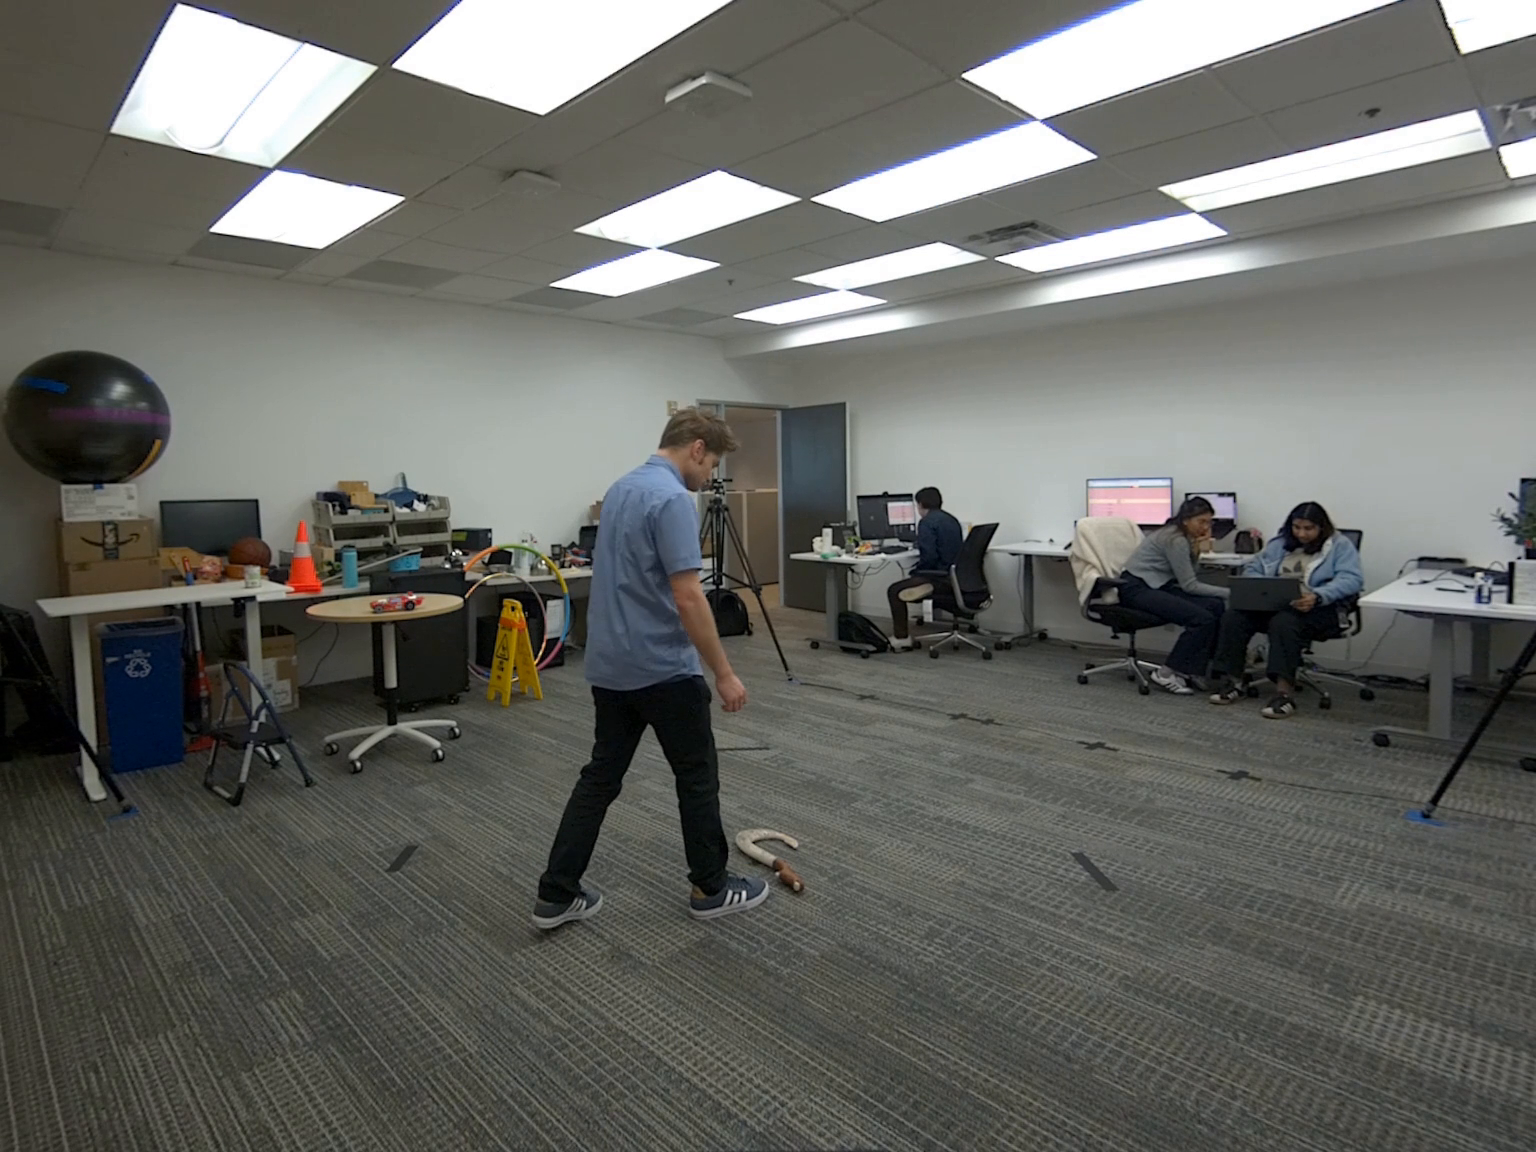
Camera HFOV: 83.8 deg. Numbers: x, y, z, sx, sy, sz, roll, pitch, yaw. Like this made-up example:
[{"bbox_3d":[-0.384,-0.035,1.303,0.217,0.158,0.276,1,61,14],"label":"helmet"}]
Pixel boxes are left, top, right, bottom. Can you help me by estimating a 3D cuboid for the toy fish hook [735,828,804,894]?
[{"bbox_3d":[0.053,1.020,3.109,0.220,0.048,0.519,-5,8,-23],"label":"toy fish hook"}]
